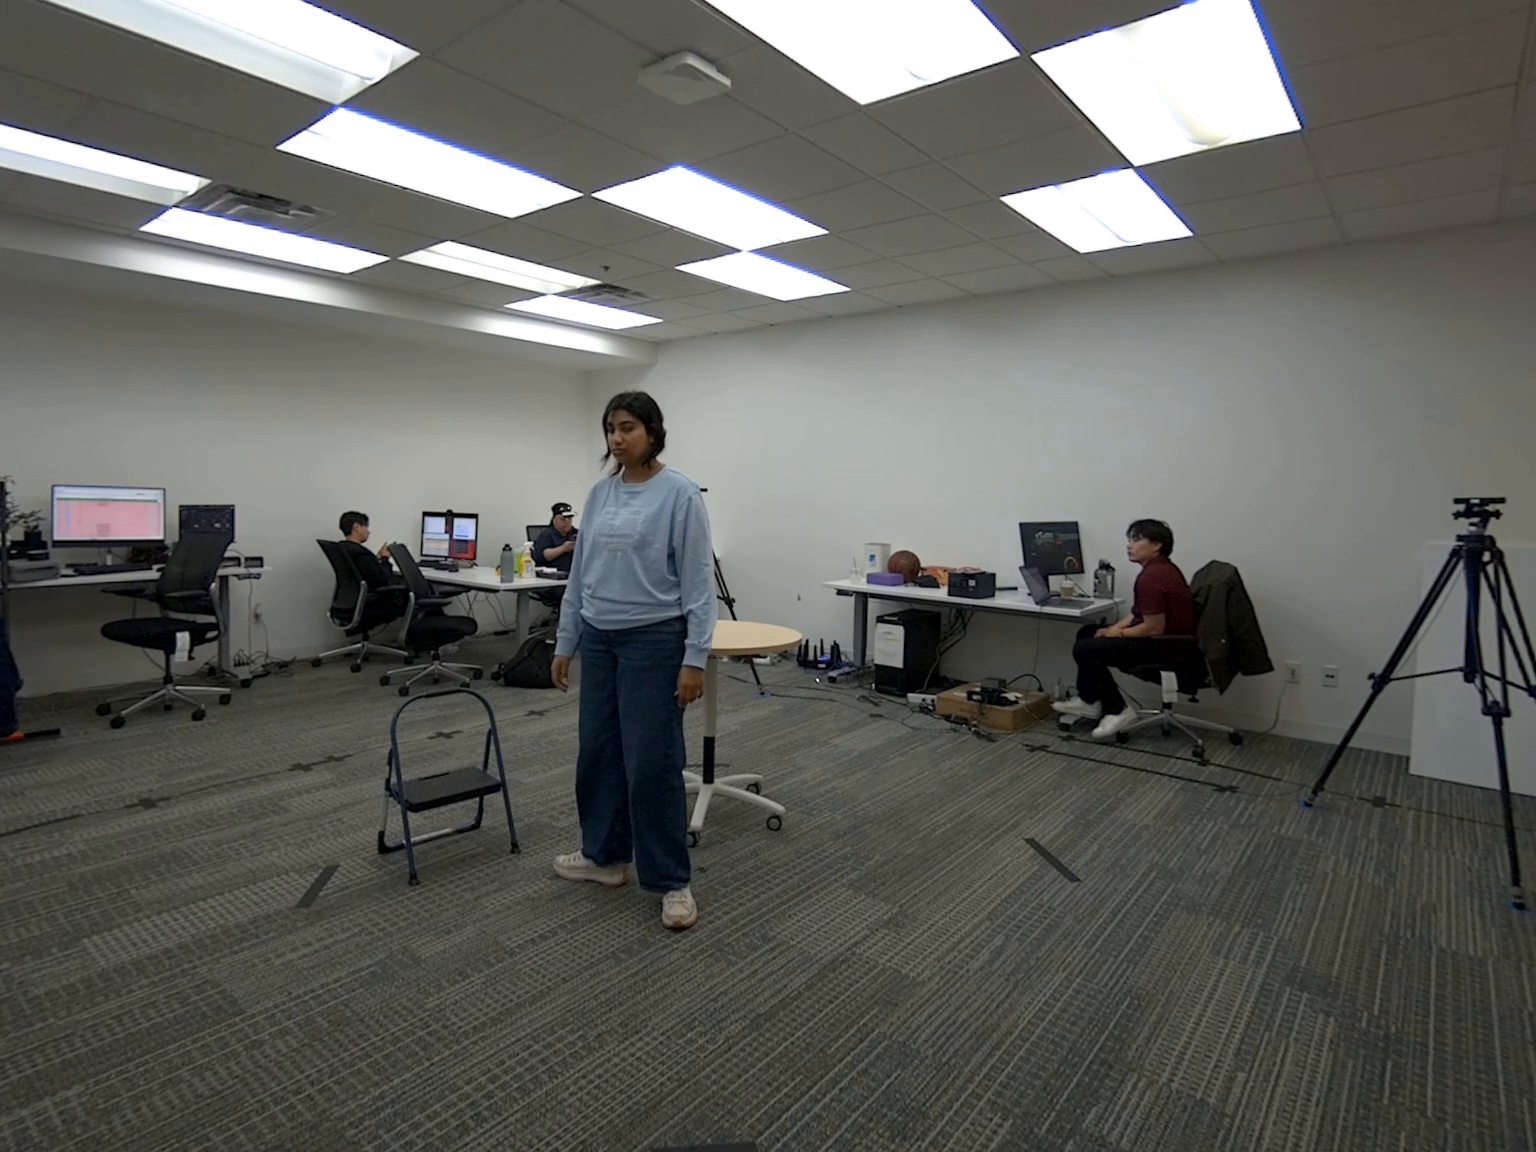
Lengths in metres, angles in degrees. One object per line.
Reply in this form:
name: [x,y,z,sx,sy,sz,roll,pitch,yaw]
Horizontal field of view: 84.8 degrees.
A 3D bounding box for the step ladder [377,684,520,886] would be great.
step ladder: [-1.220,0.744,3.202,0.418,0.604,0.361,-3,5,-44]
